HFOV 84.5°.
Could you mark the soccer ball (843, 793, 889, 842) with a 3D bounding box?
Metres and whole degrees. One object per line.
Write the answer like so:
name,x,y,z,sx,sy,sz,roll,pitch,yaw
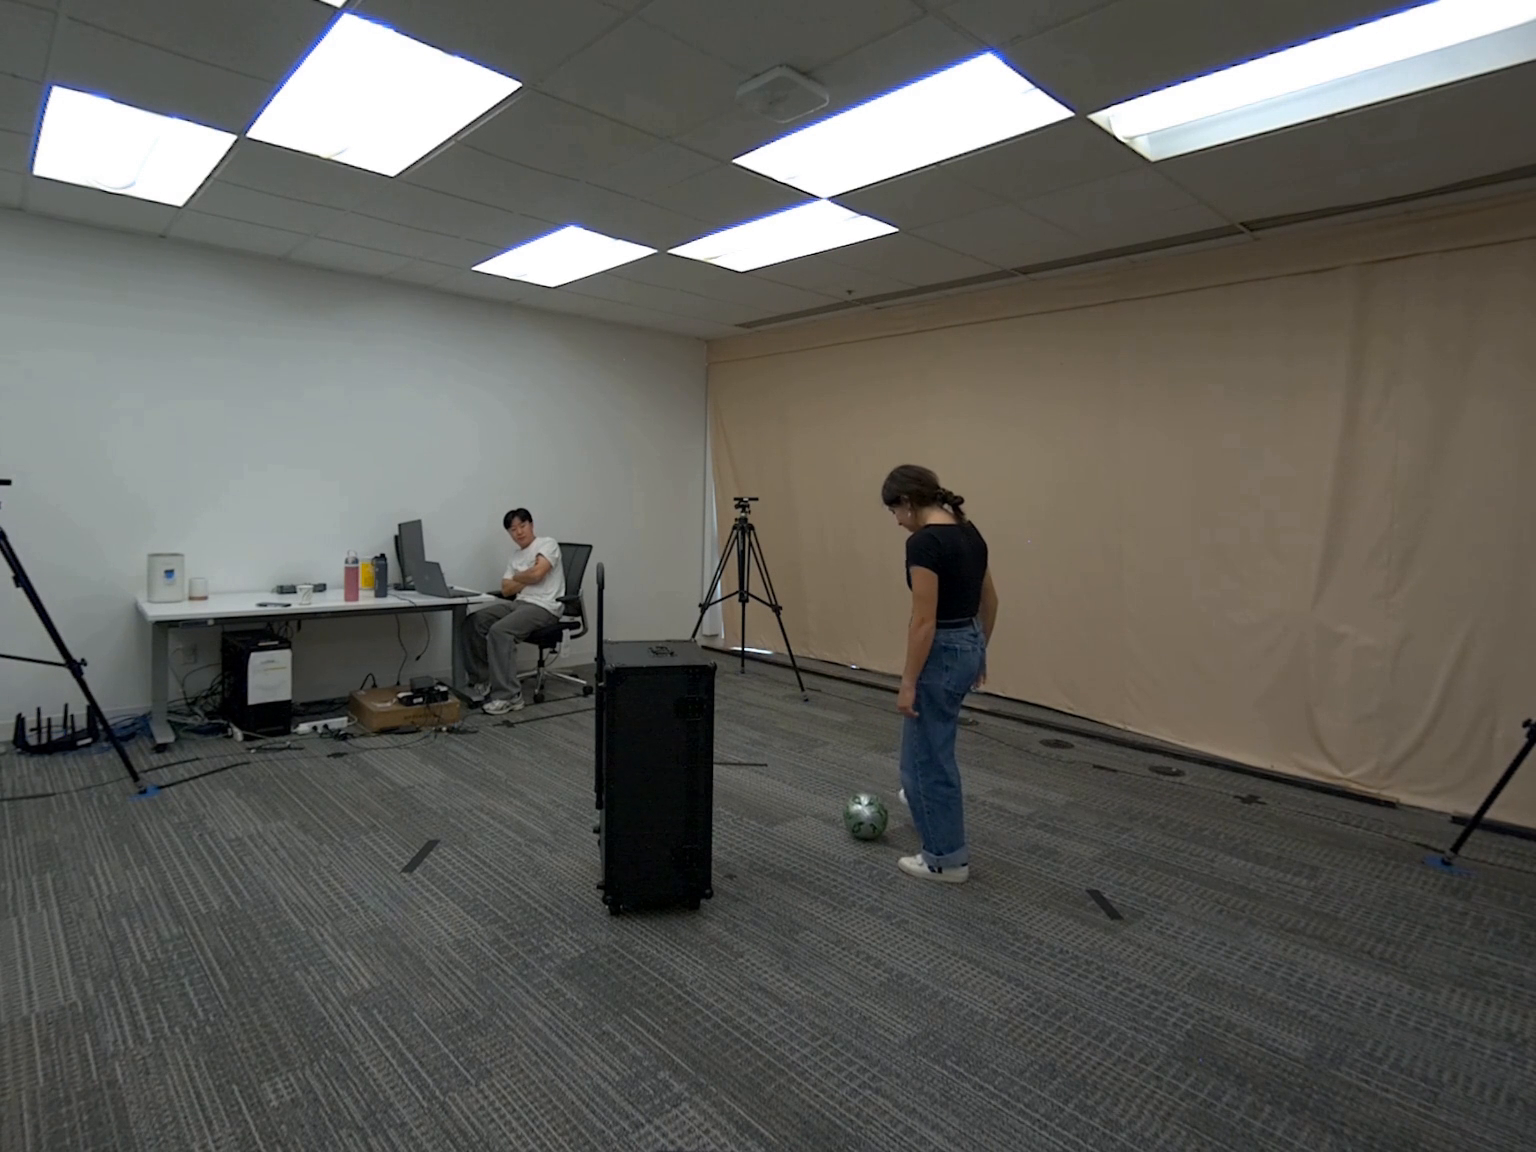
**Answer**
soccer ball,0.396,0.995,3.486,0.187,0.187,0.188,1,4,-1
